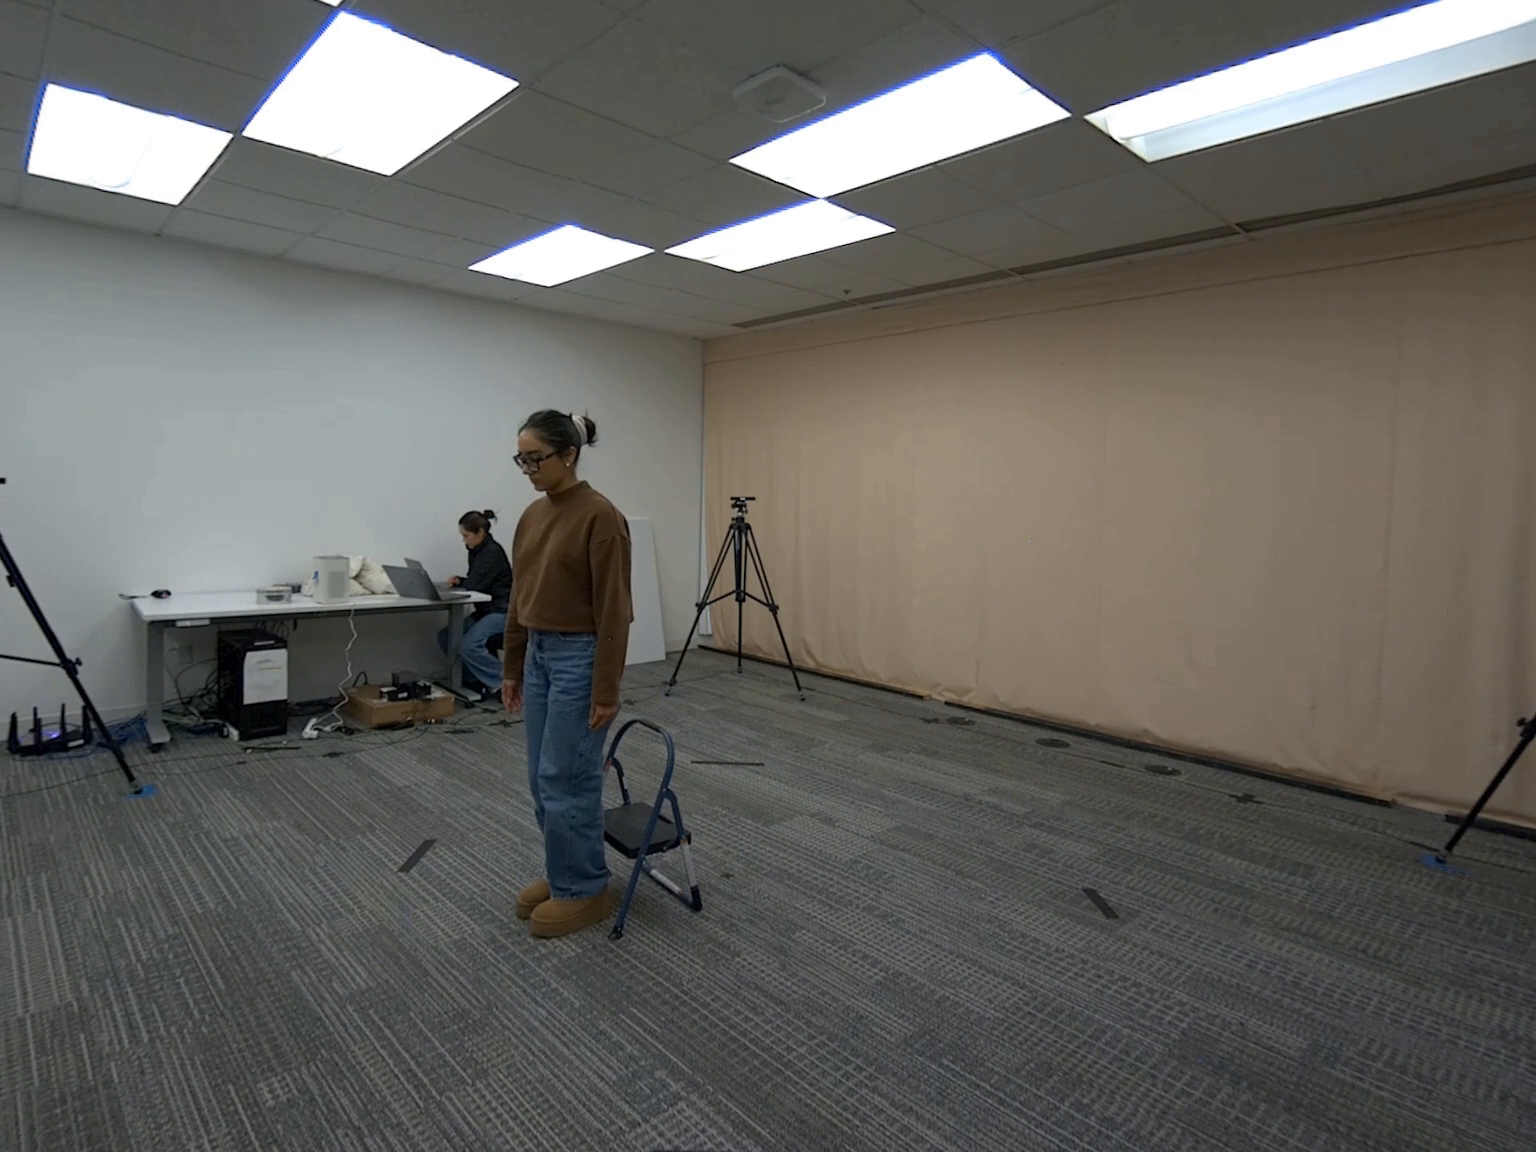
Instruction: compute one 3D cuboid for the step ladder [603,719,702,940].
[{"bbox_3d":[-0.475,0.817,2.890,0.341,0.605,0.441,-1,4,-37],"label":"step ladder"}]
